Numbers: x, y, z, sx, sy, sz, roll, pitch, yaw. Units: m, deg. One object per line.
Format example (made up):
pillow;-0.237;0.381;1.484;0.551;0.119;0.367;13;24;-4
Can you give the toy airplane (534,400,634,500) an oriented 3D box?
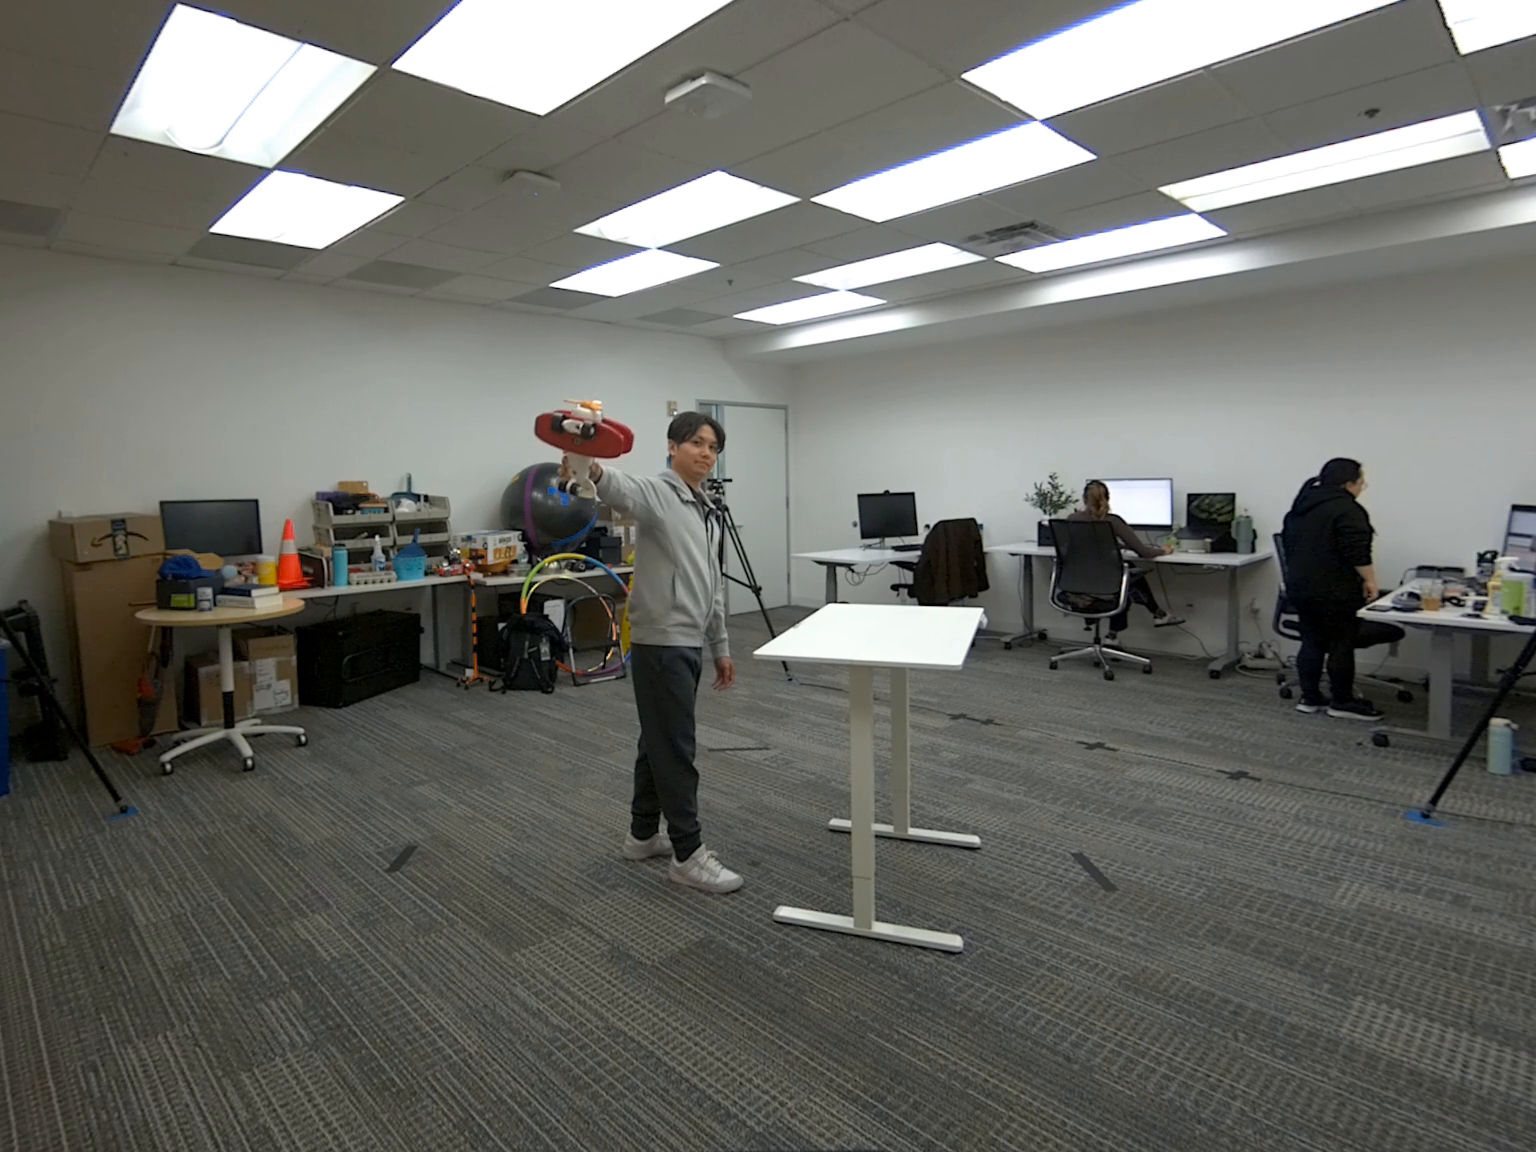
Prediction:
toy airplane;-0.512;-0.341;2.315;0.259;0.249;0.158;-46;10;32
